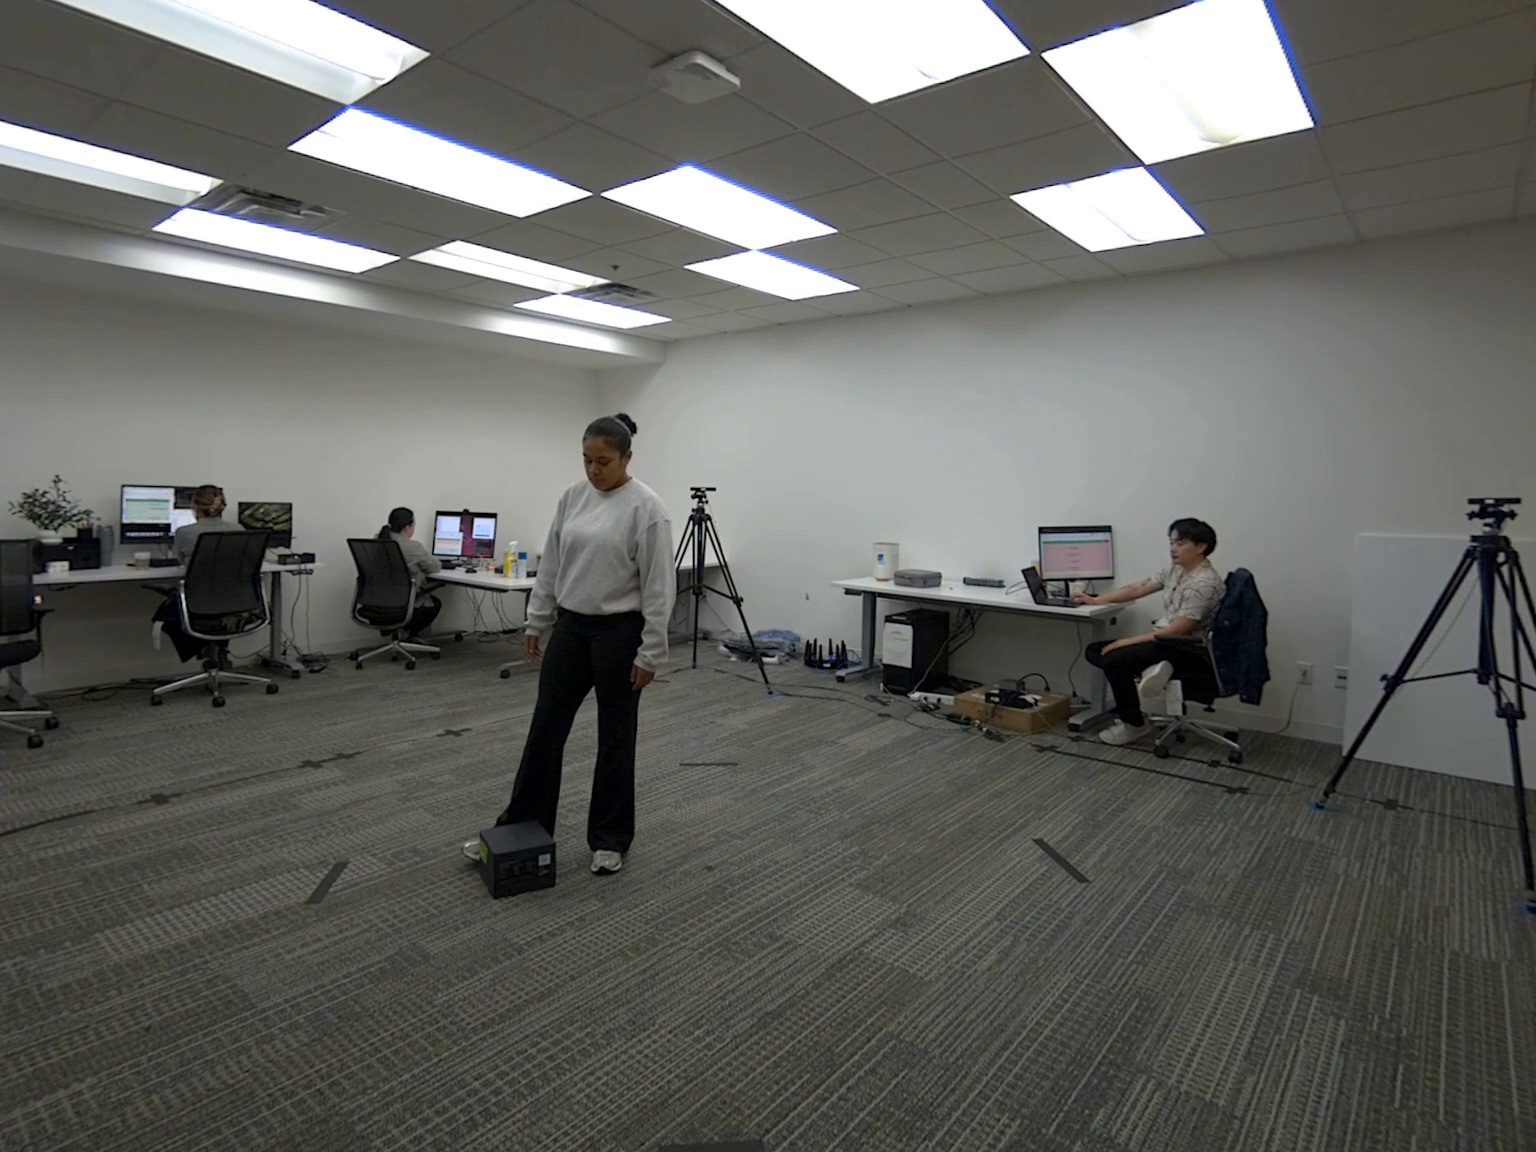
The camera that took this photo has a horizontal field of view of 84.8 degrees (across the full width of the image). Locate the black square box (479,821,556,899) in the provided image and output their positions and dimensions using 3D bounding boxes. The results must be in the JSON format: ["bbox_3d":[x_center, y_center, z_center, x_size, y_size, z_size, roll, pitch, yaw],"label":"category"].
[{"bbox_3d":[-0.878,0.984,2.978,0.211,0.155,0.235,-3,6,-33],"label":"black square box"}]
